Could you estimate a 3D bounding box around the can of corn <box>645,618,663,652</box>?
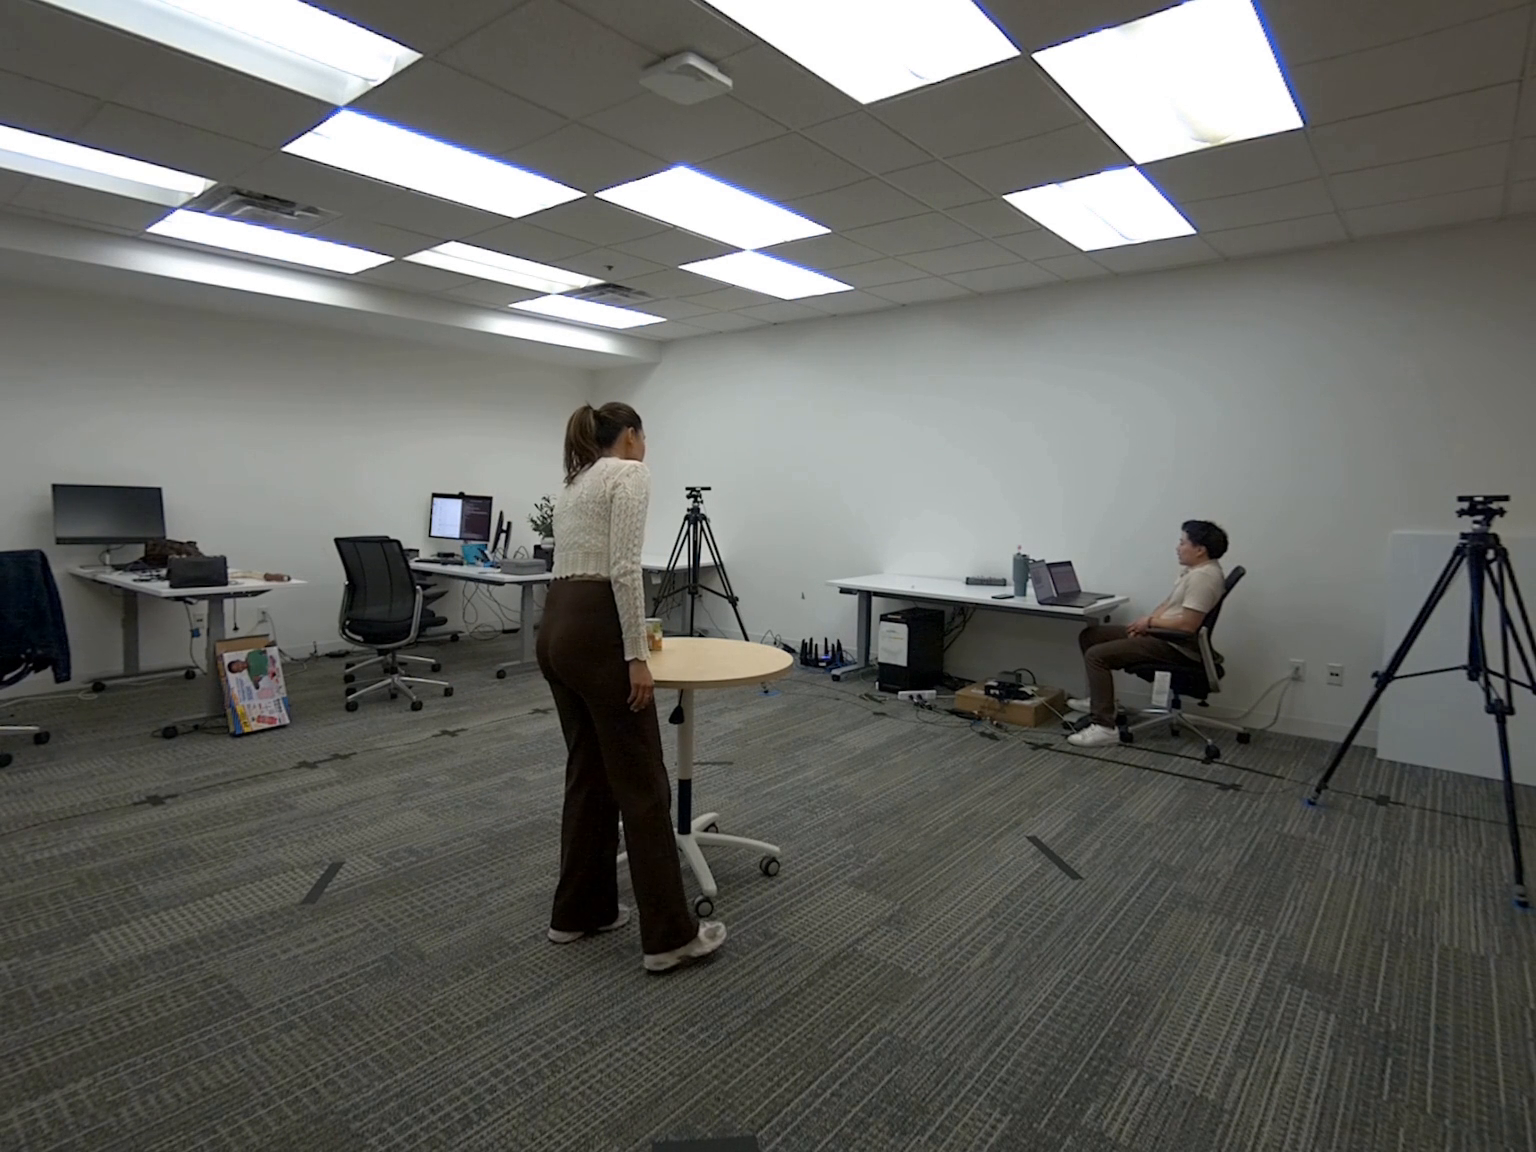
[{"bbox_3d":[-0.444,0.218,3.167,0.074,0.110,0.074,-1,5,-2],"label":"can of corn"}]
